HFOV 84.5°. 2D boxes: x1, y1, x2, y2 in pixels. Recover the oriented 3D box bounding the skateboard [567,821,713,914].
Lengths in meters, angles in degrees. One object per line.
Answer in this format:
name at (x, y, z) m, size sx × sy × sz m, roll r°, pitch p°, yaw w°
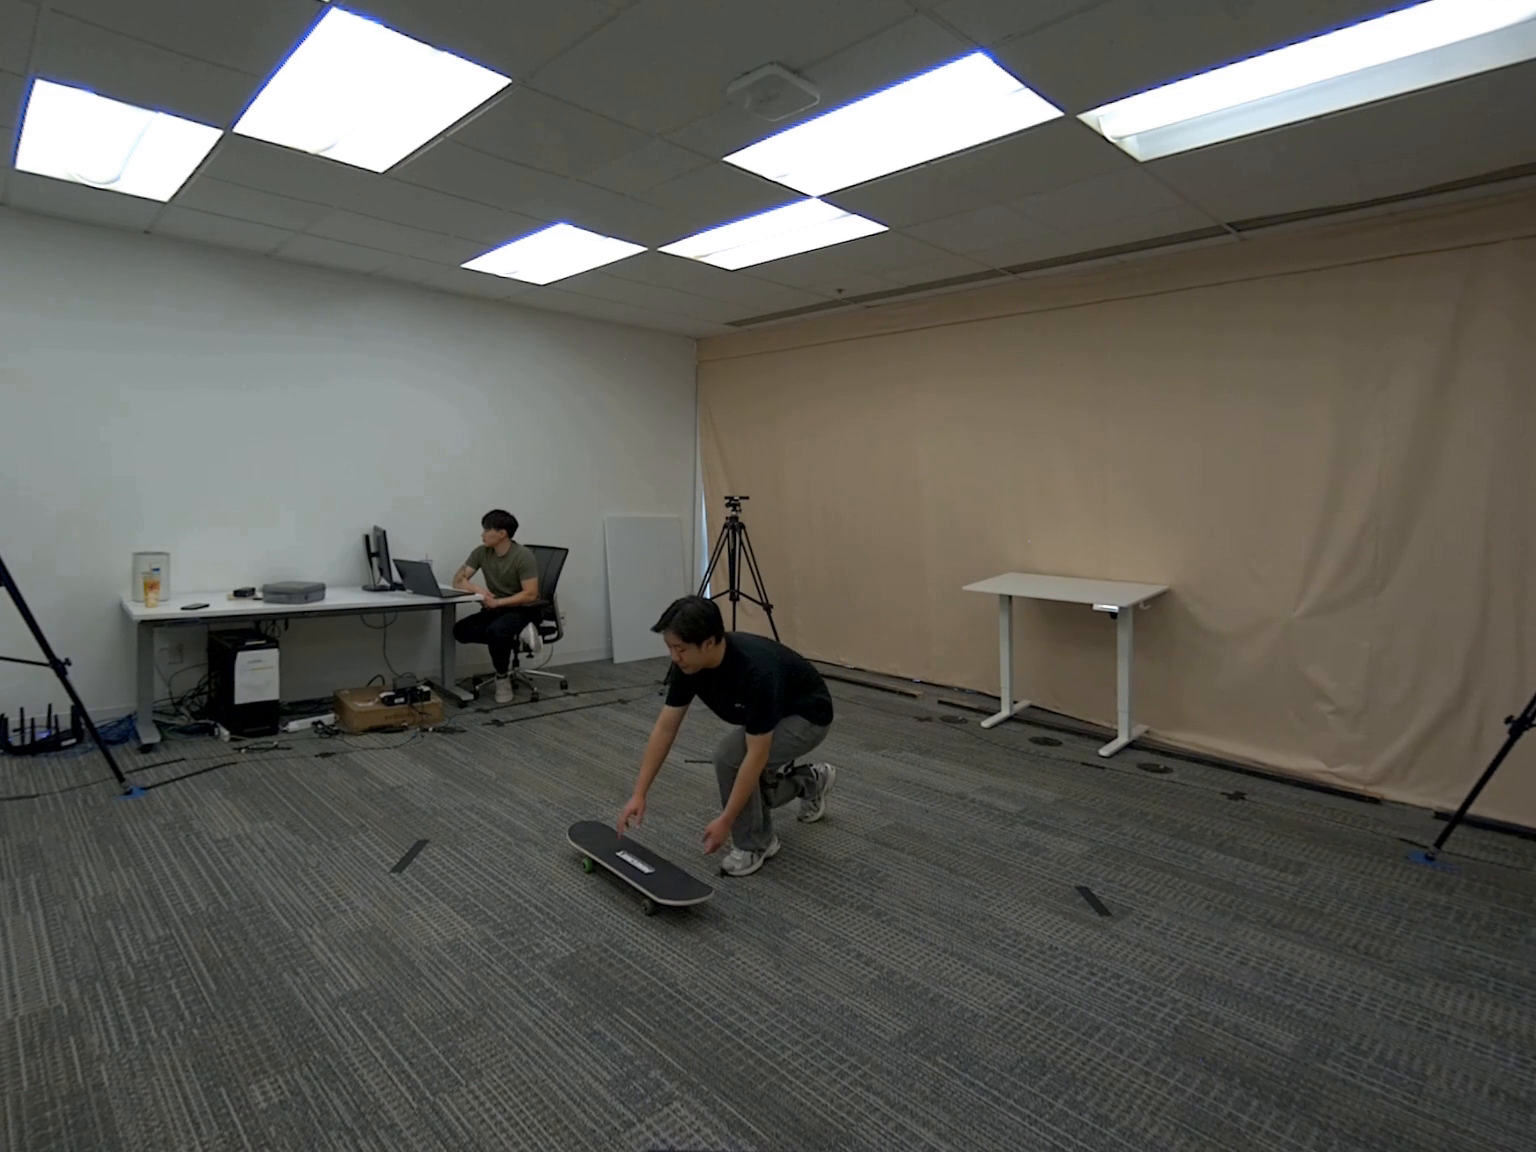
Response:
skateboard at (-0.476, 1.048, 3.002) m, size 0.189 × 0.110 × 0.806 m, roll -3°, pitch 6°, yaw -42°
